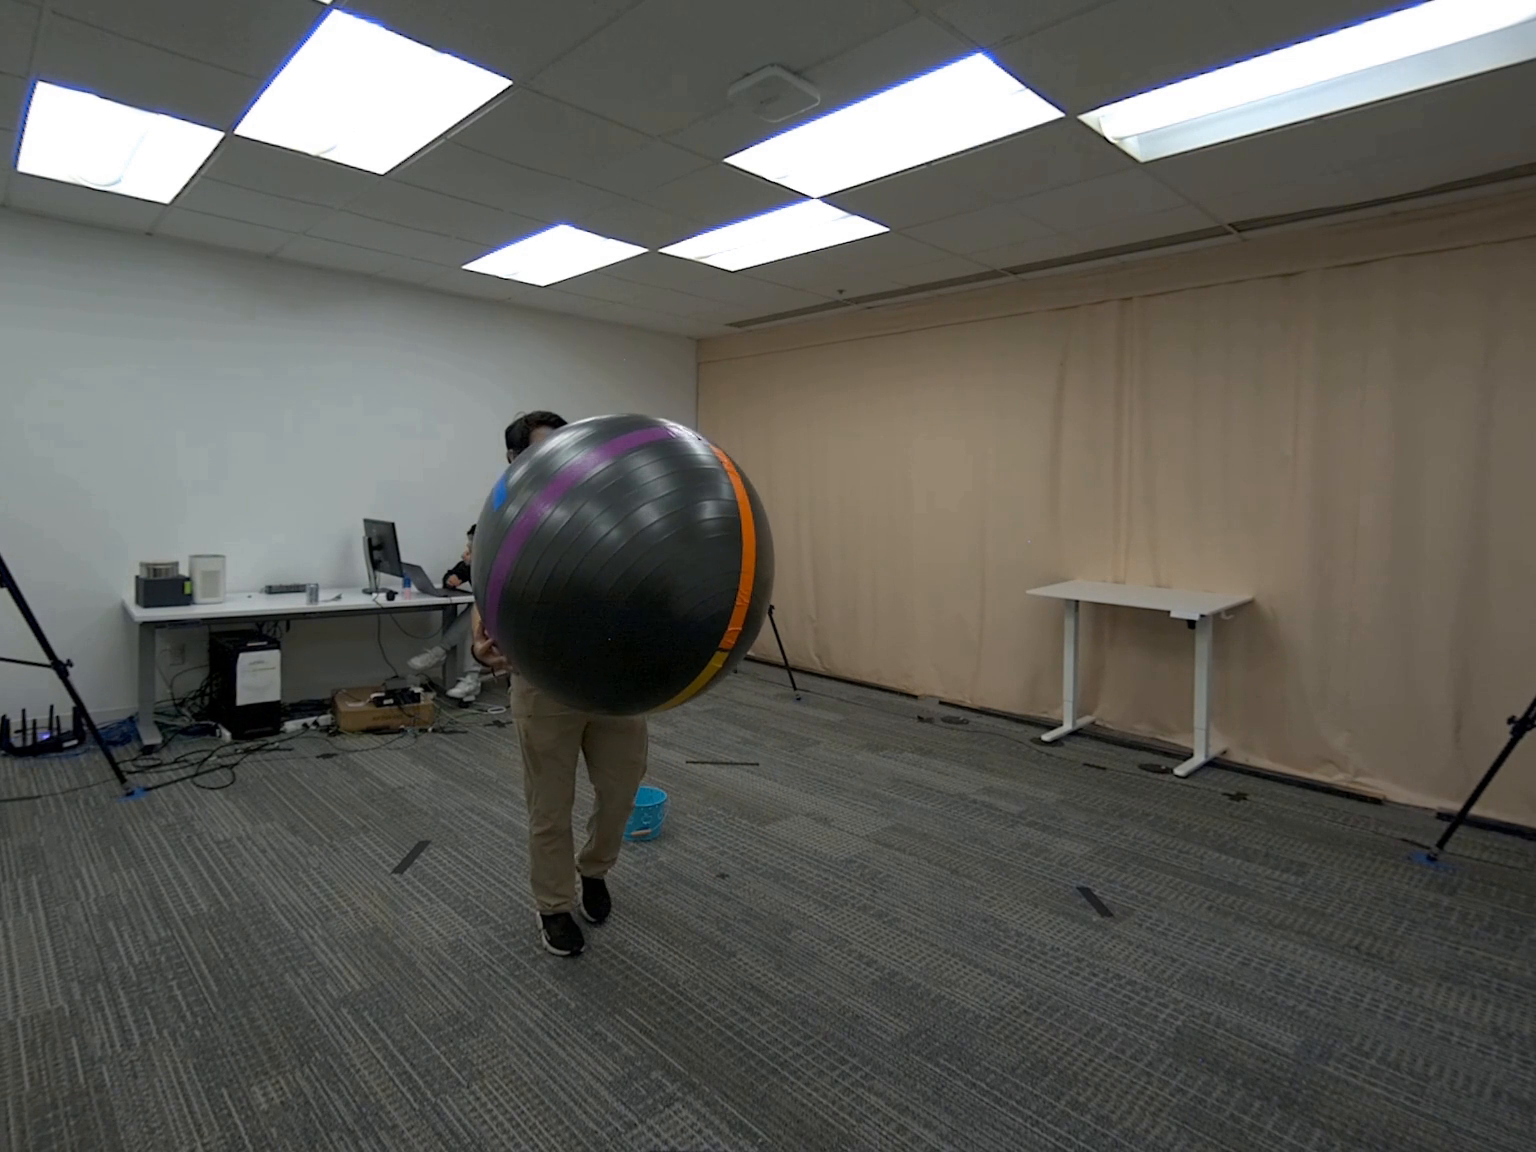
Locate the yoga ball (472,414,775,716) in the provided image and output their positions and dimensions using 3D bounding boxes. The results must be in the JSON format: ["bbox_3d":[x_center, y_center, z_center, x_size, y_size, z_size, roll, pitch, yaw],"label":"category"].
[{"bbox_3d":[-0.359,-0.017,2.123,0.757,0.756,0.761,1,4,-1],"label":"yoga ball"}]
